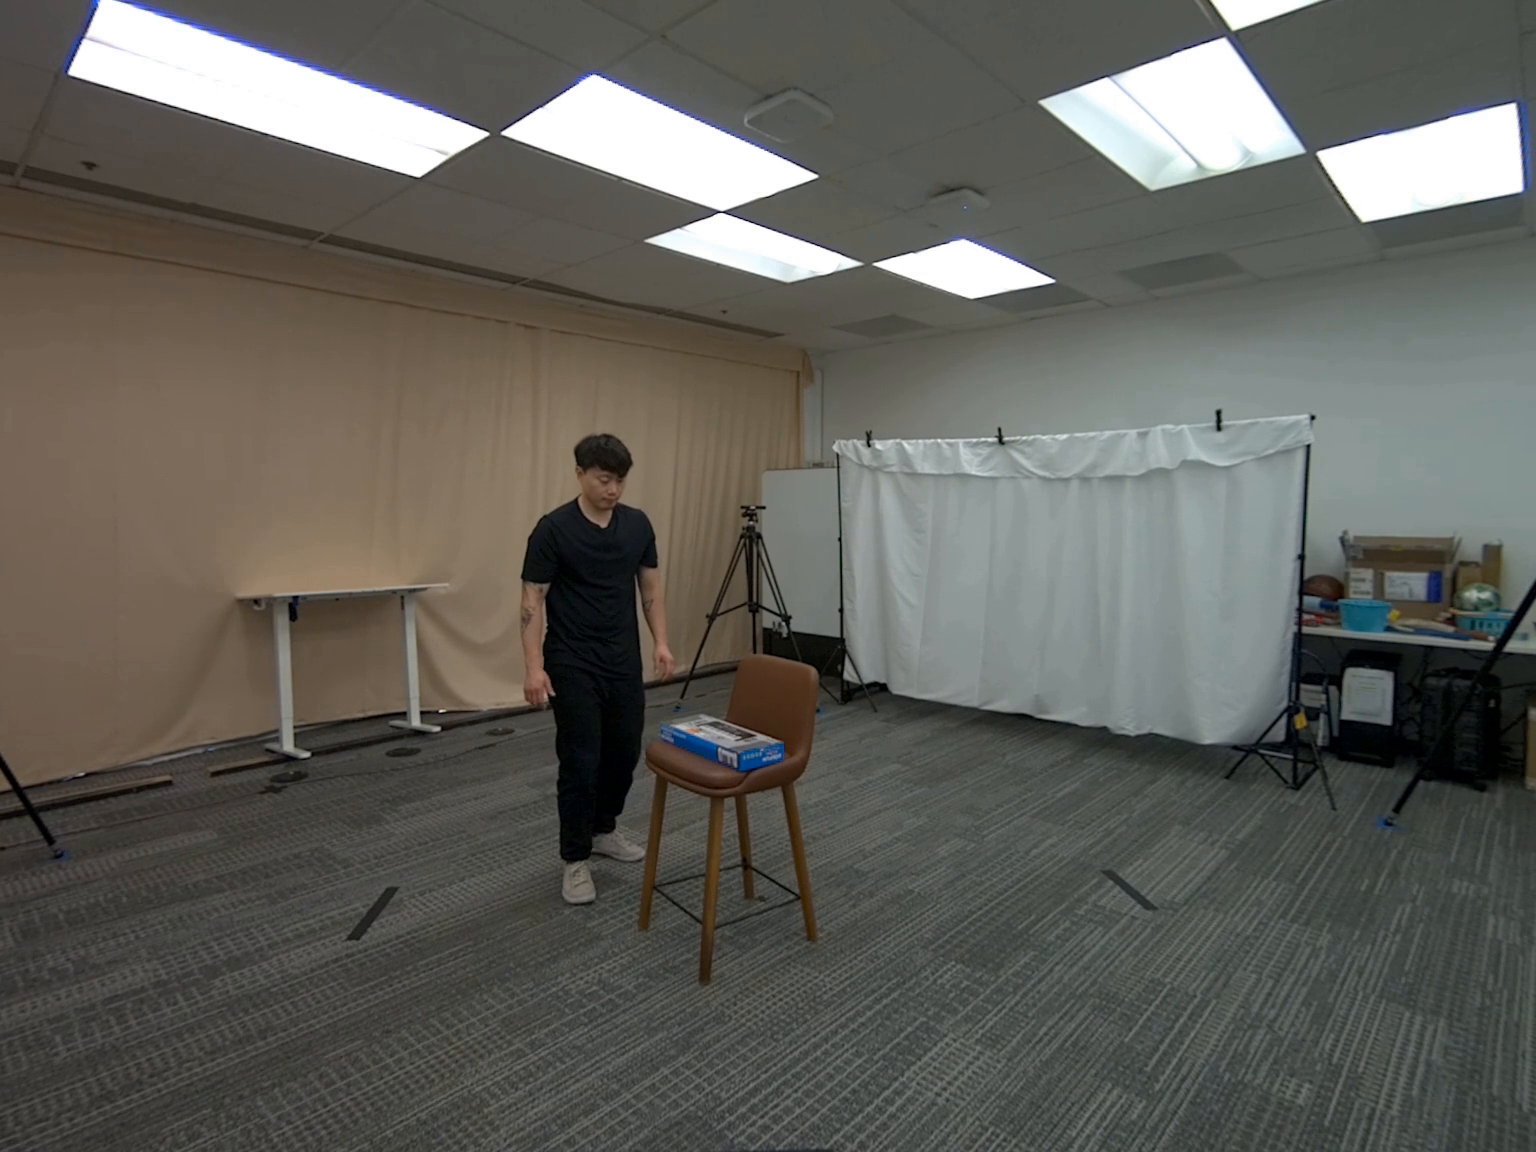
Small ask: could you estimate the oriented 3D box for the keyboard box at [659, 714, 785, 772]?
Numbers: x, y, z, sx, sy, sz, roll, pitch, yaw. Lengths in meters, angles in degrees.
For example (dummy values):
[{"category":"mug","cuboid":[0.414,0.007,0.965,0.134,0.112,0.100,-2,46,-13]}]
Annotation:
[{"category":"keyboard box","cuboid":[-0.157,0.527,2.683,0.171,0.059,0.451,-5,6,-37]}]
